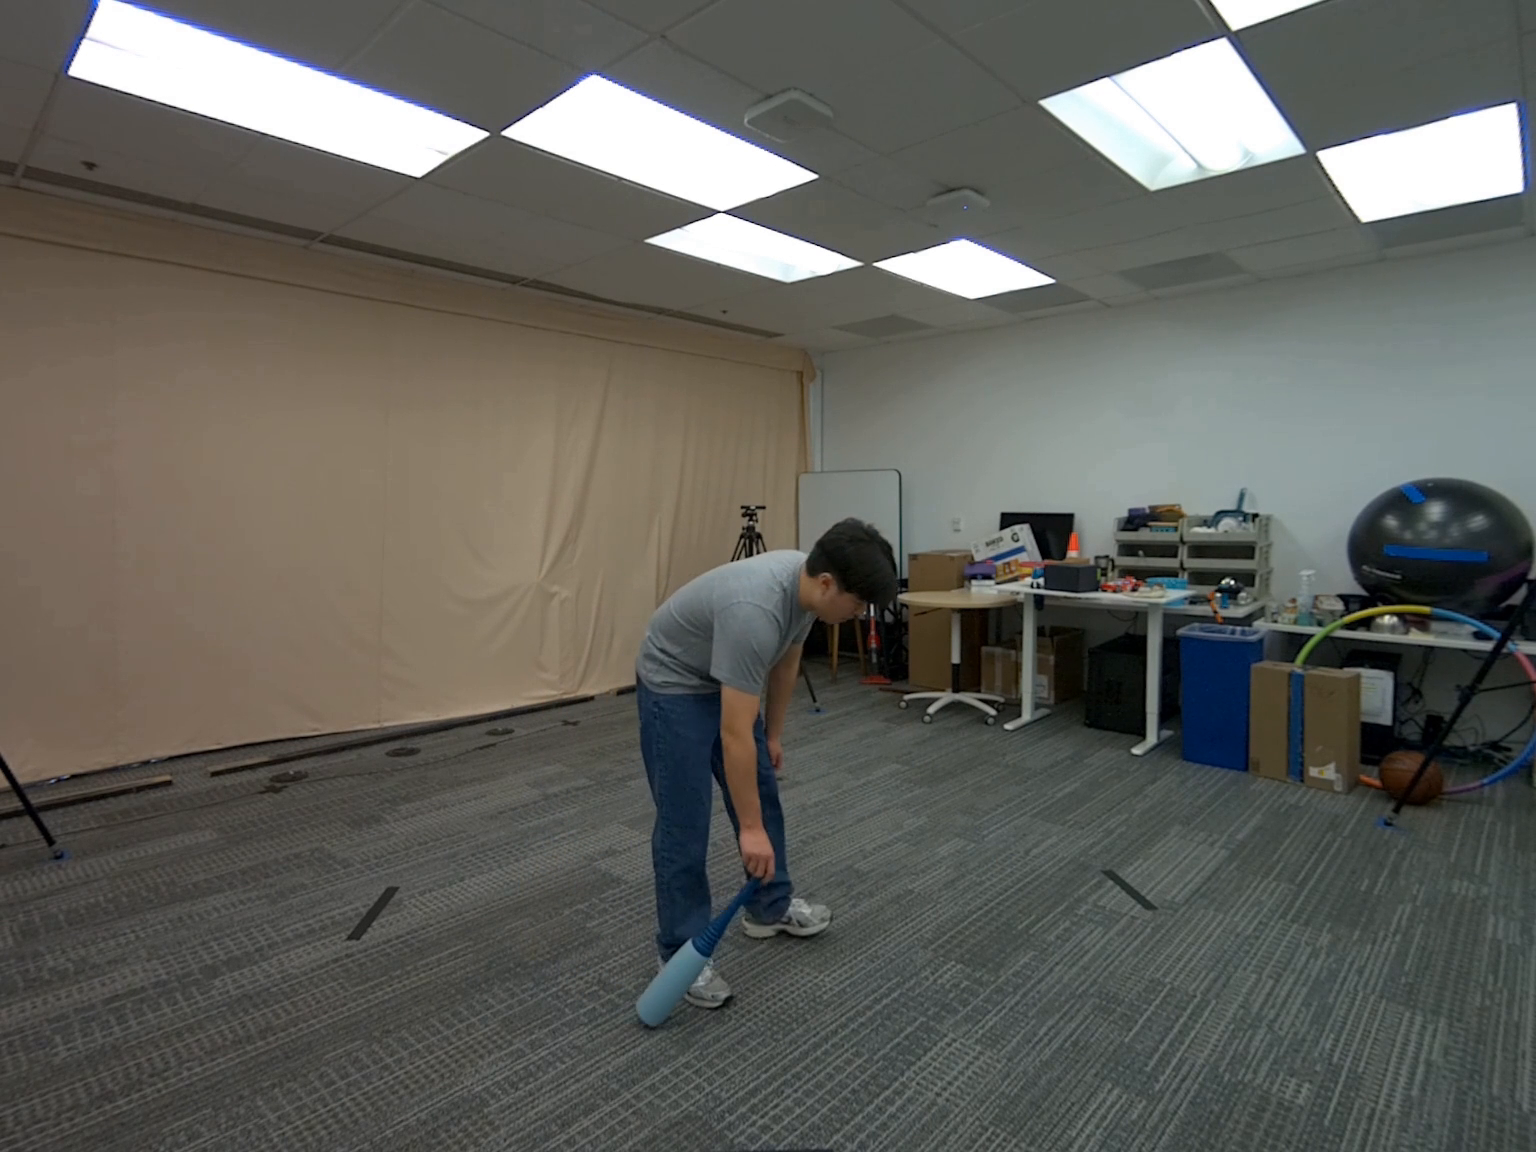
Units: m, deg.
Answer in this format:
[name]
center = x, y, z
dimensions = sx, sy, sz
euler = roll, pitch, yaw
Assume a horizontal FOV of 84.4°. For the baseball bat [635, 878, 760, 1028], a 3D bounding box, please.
[baseball bat]
center = -0.164, 0.973, 2.243
dimensions = 0.088, 0.543, 0.090
euler = 37, 6, -7
